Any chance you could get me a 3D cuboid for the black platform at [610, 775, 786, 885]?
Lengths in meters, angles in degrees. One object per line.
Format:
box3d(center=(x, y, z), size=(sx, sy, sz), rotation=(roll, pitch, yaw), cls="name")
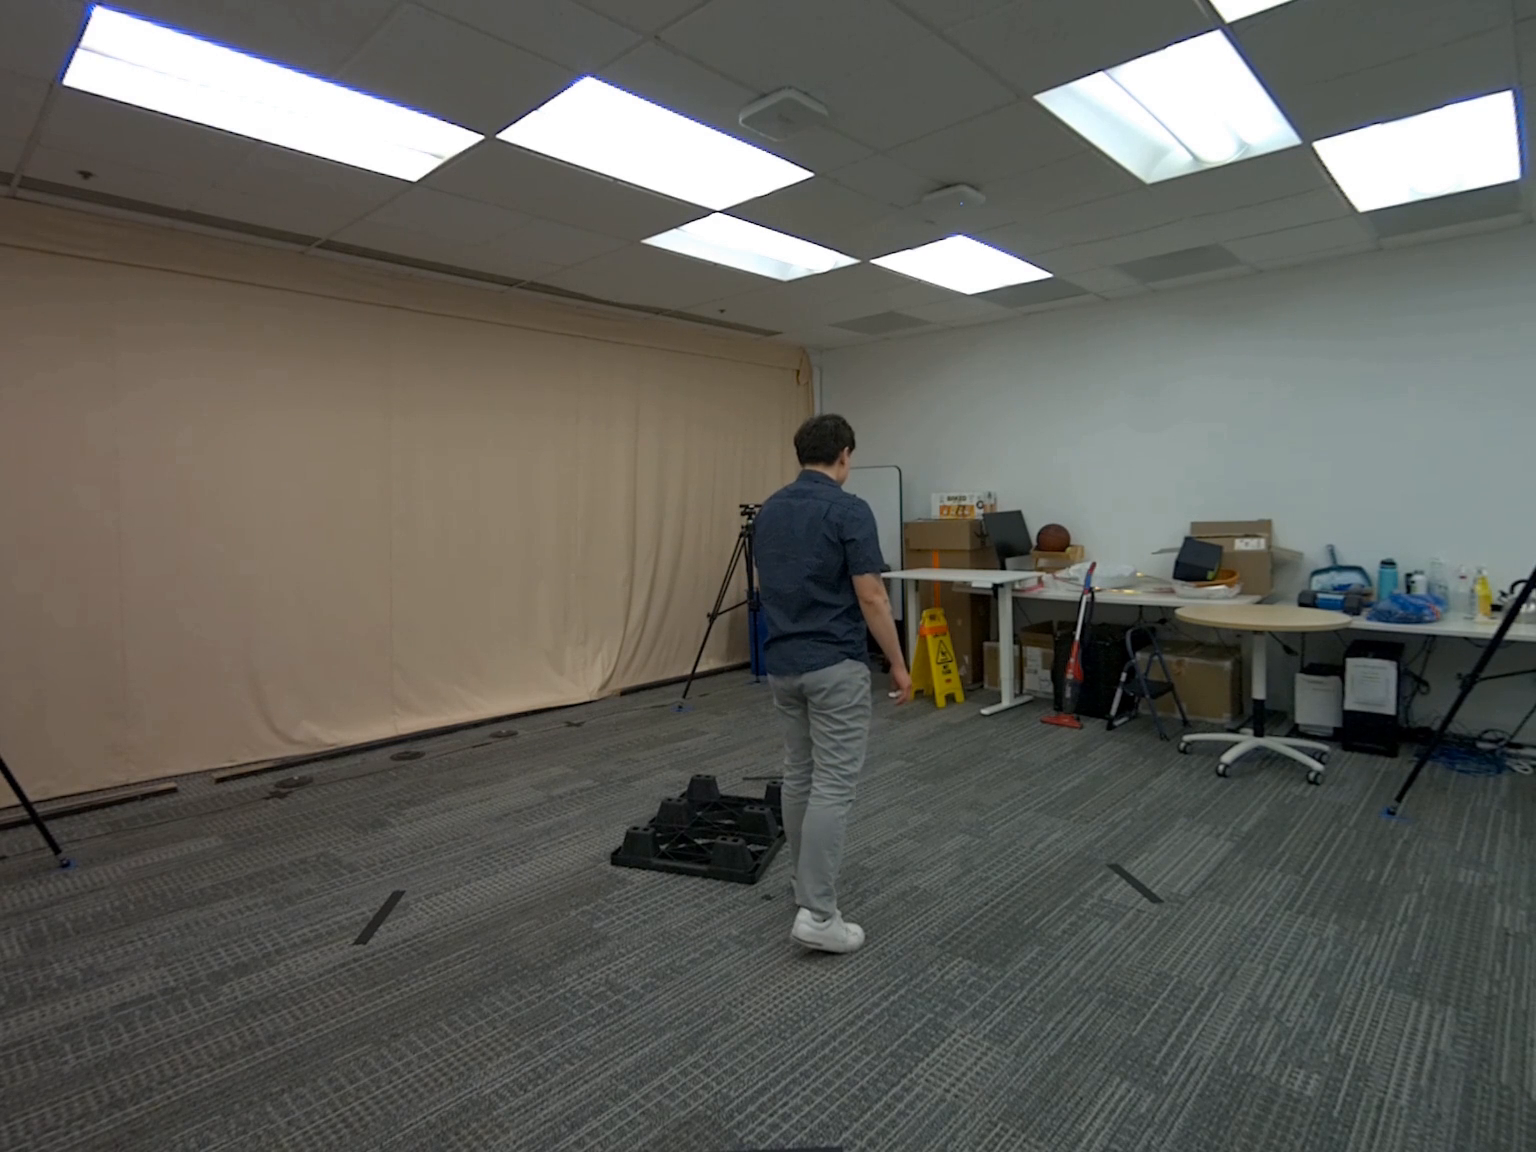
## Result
box3d(center=(-0.225, 1.031, 3.553), size=(0.617, 0.143, 0.792), rotation=(1, 5, 18), cls="black platform")
